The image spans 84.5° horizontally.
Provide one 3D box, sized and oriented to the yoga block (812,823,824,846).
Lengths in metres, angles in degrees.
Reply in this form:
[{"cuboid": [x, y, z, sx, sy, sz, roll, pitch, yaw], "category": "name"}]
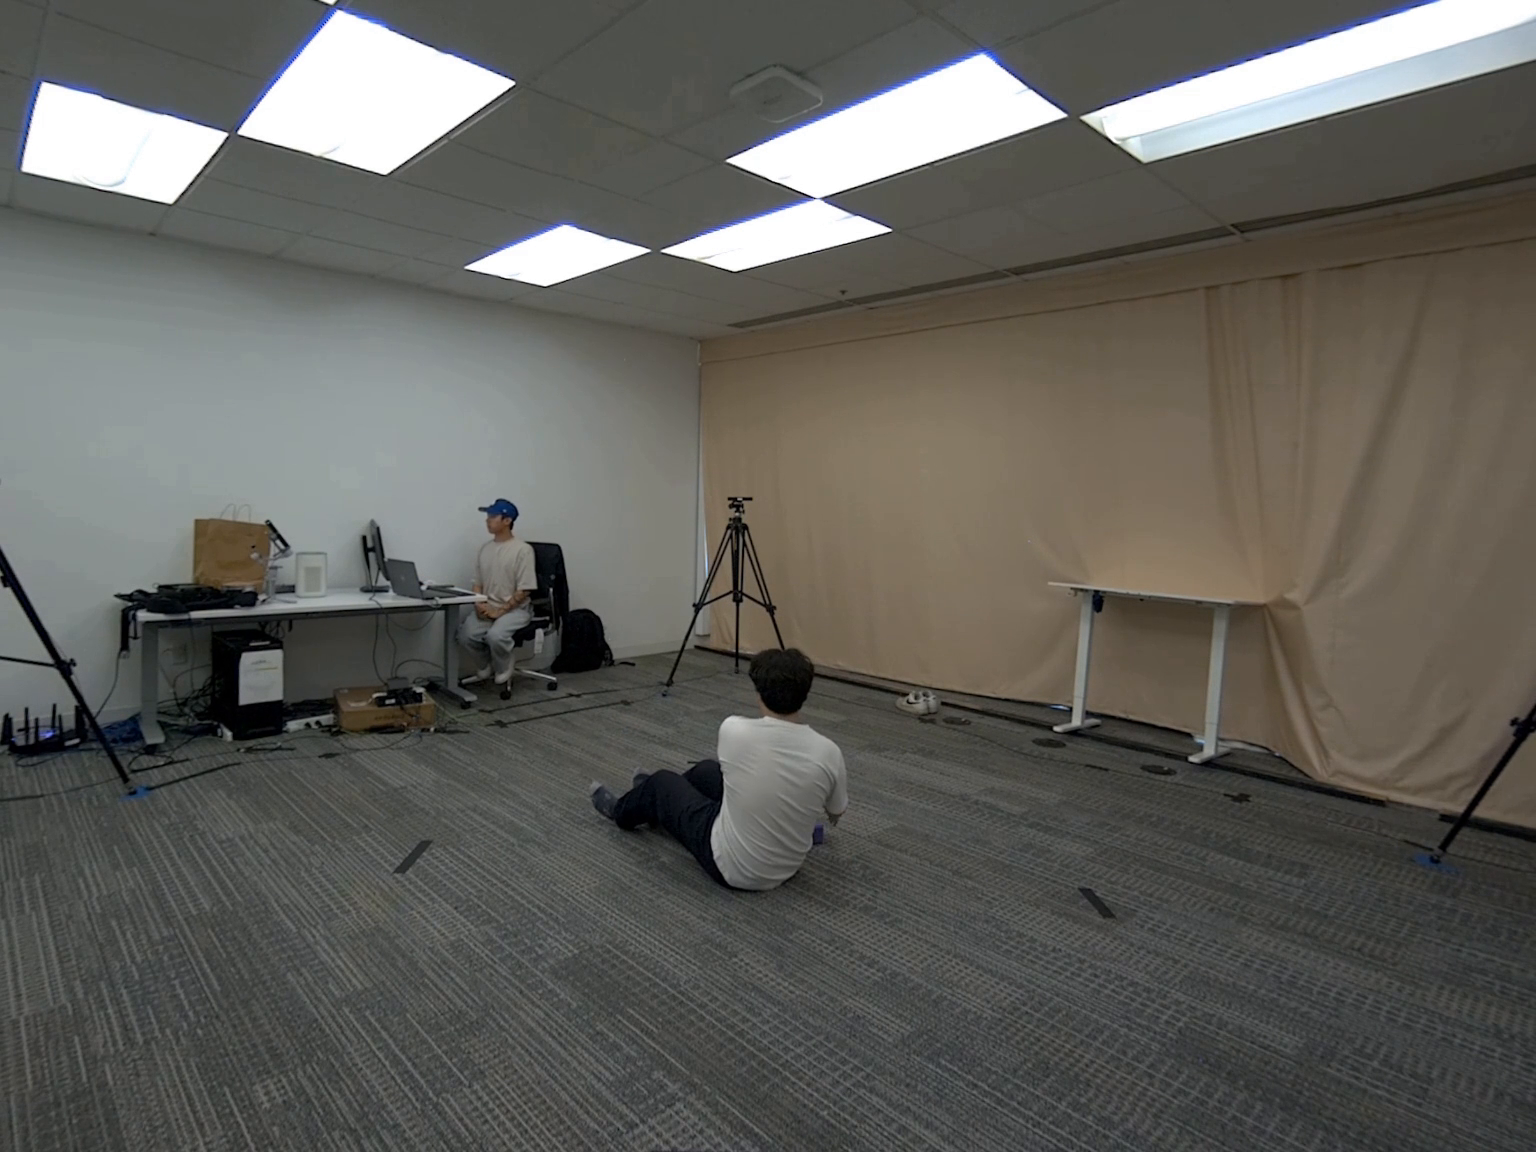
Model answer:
[{"cuboid": [0.121, 1.040, 3.500, 0.147, 0.076, 0.233, -1, 4, -18], "category": "yoga block"}]
